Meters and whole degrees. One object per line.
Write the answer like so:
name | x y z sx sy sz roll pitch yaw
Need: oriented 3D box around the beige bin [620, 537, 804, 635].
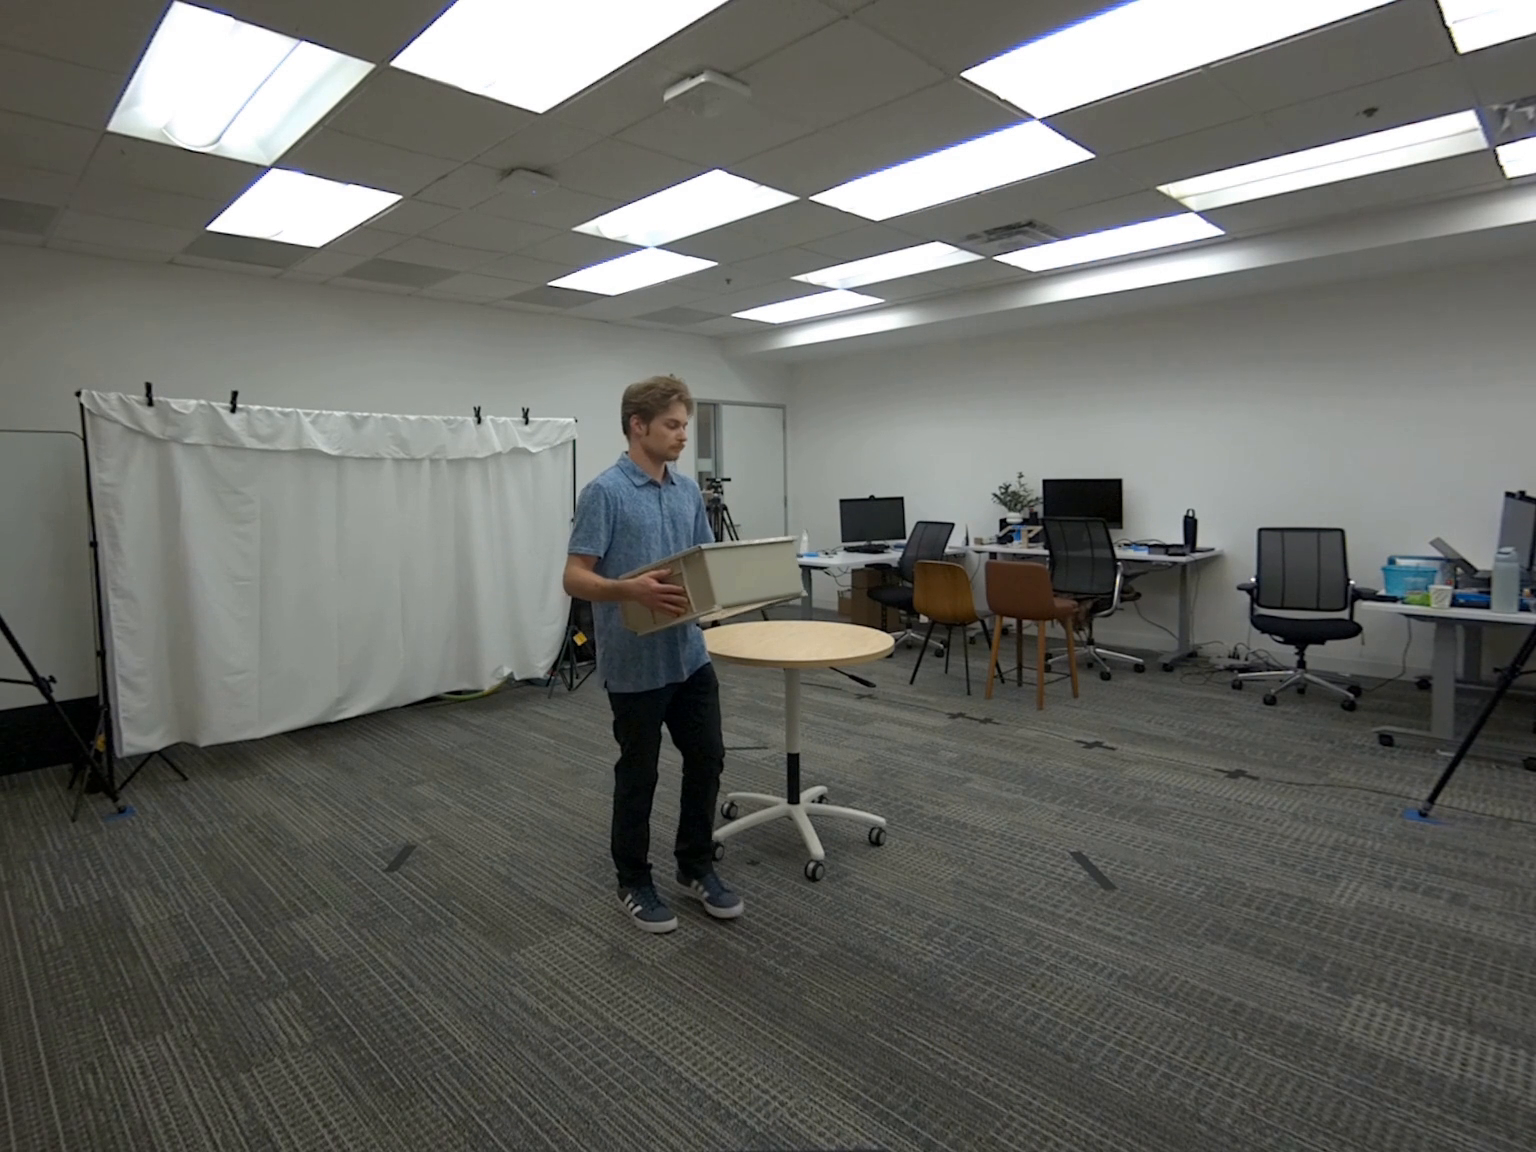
beige bin | -0.158 0.031 2.482 0.385 0.190 0.411 -16 -8 43
